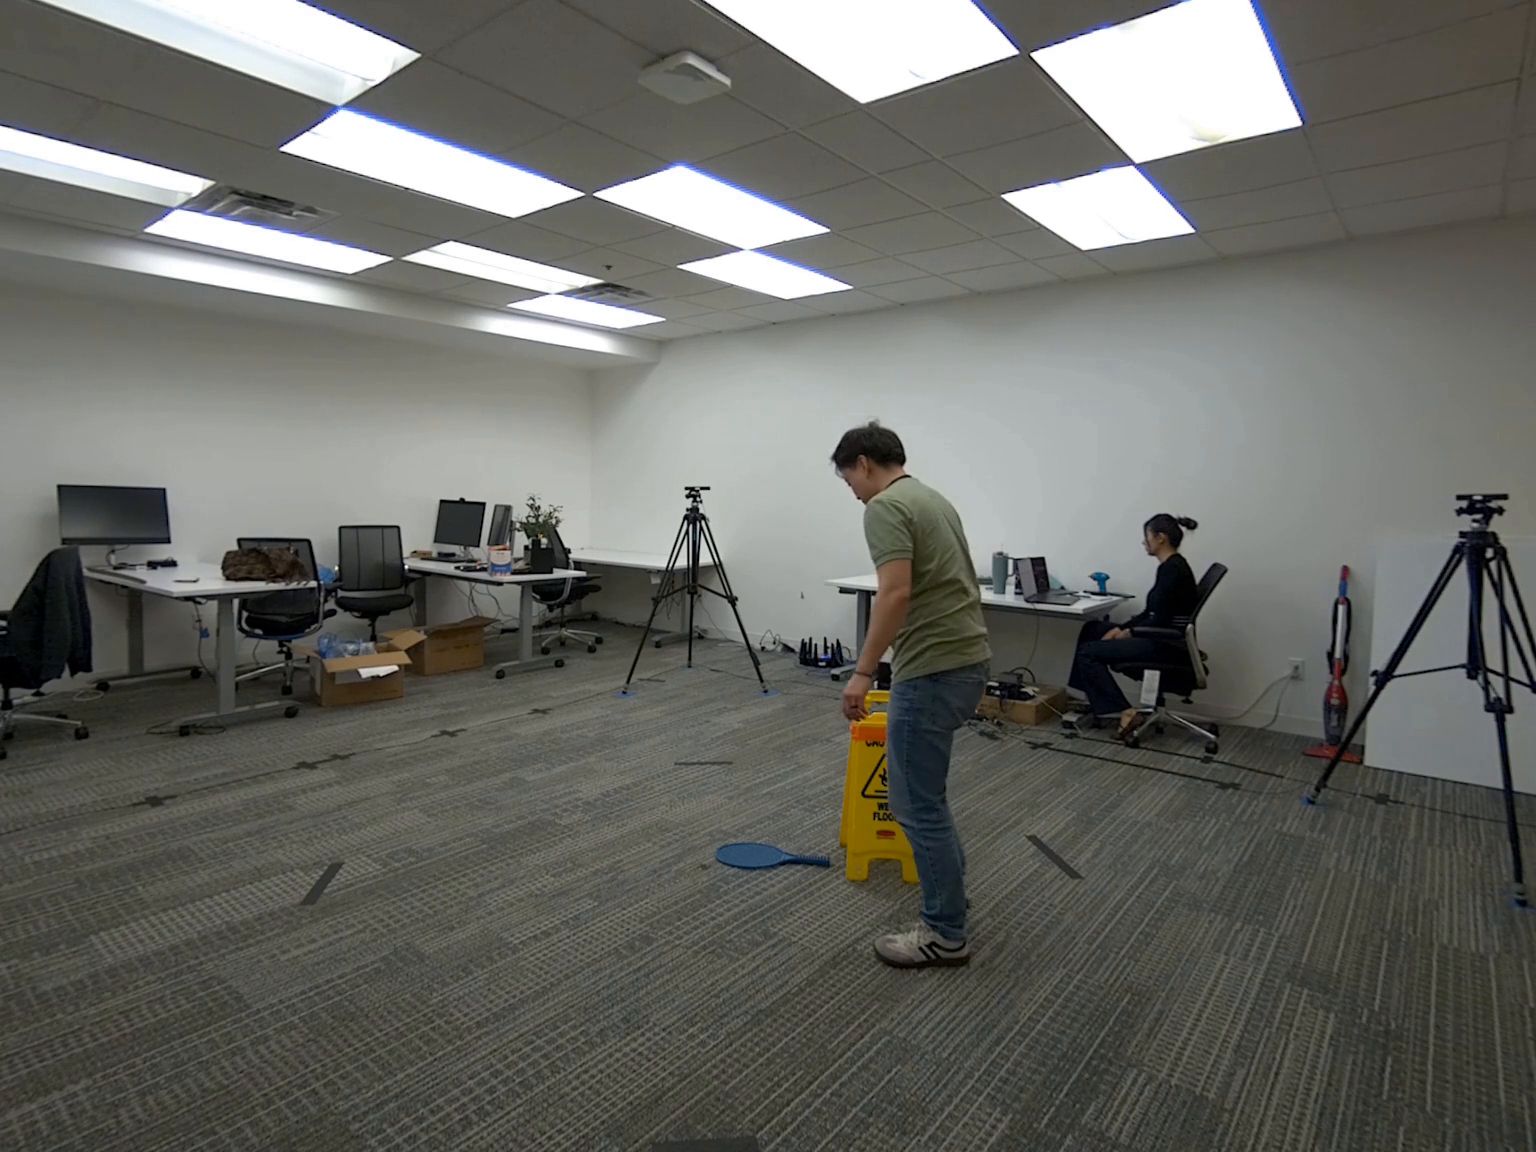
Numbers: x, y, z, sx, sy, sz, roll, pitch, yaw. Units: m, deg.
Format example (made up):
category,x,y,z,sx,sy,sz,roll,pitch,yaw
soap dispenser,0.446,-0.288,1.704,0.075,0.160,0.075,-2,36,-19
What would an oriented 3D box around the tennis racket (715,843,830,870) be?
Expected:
category,x,y,z,sx,sy,sz,roll,pitch,yaw
tennis racket,0.003,1.045,3.182,0.438,0.031,0.212,0,5,12
